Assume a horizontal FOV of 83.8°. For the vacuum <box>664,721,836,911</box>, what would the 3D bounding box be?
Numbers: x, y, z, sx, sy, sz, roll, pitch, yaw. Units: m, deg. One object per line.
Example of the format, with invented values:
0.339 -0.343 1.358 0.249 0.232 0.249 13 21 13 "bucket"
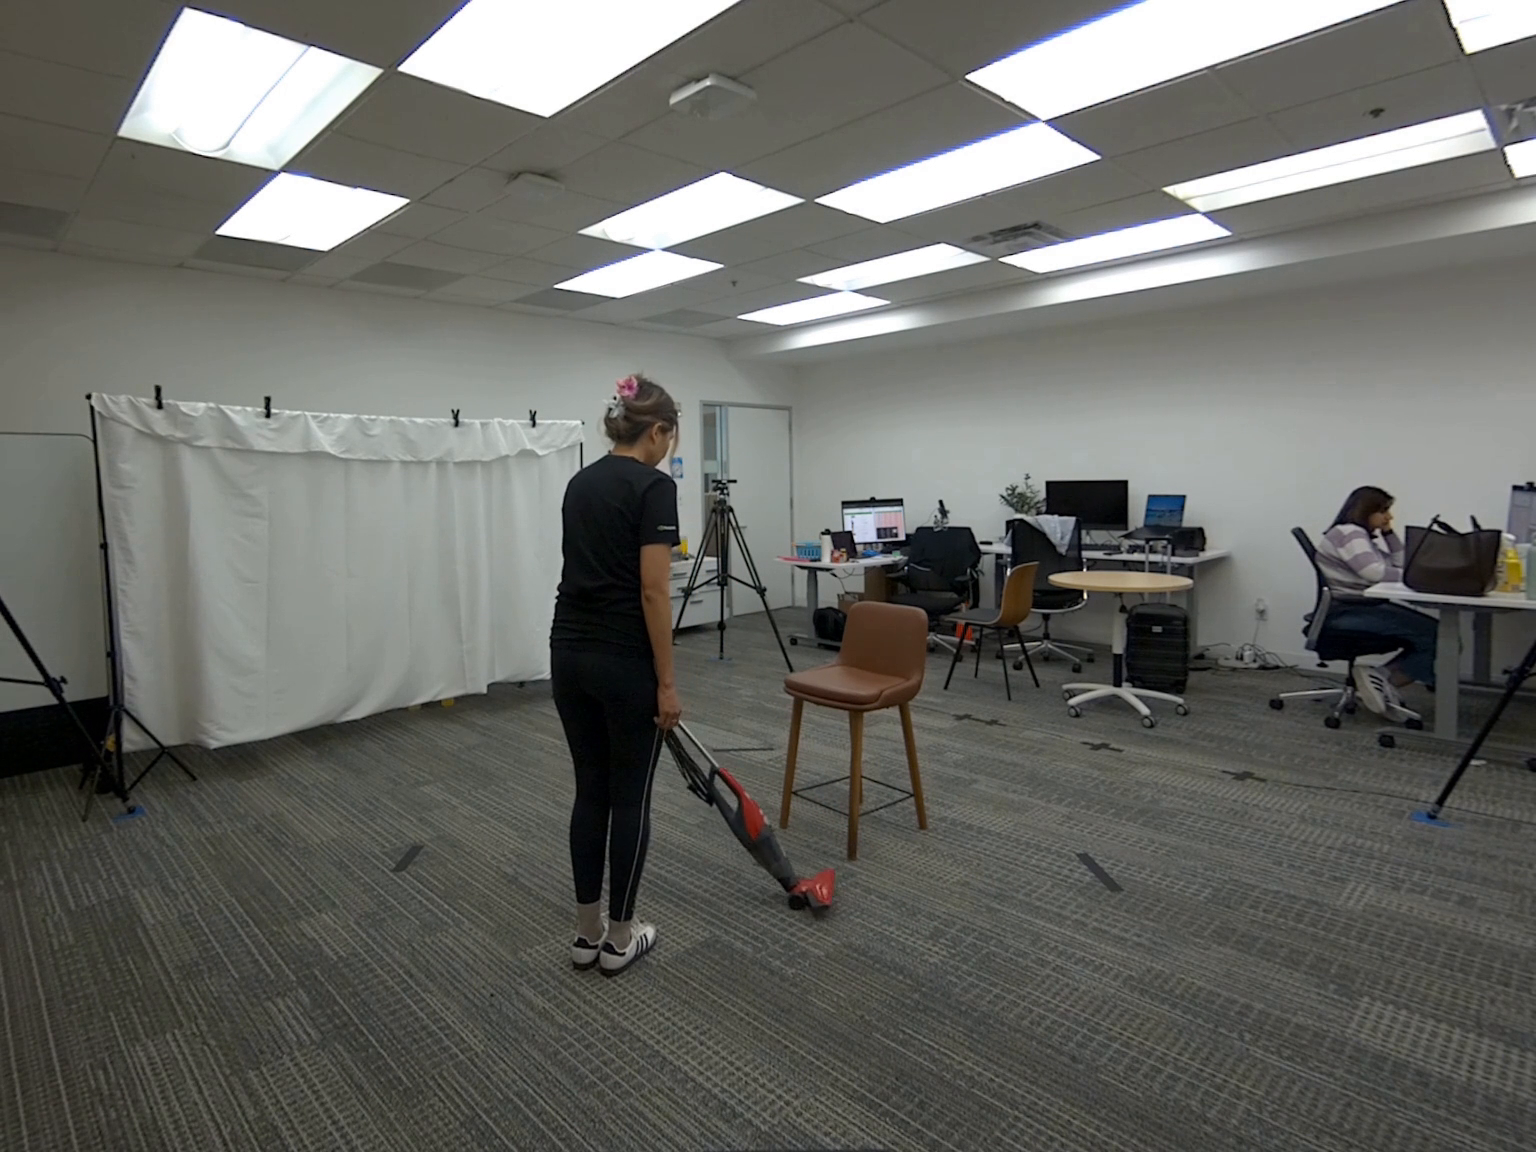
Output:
-0.204 0.670 2.872 0.144 1.059 0.250 -45 -6 11 "vacuum"
